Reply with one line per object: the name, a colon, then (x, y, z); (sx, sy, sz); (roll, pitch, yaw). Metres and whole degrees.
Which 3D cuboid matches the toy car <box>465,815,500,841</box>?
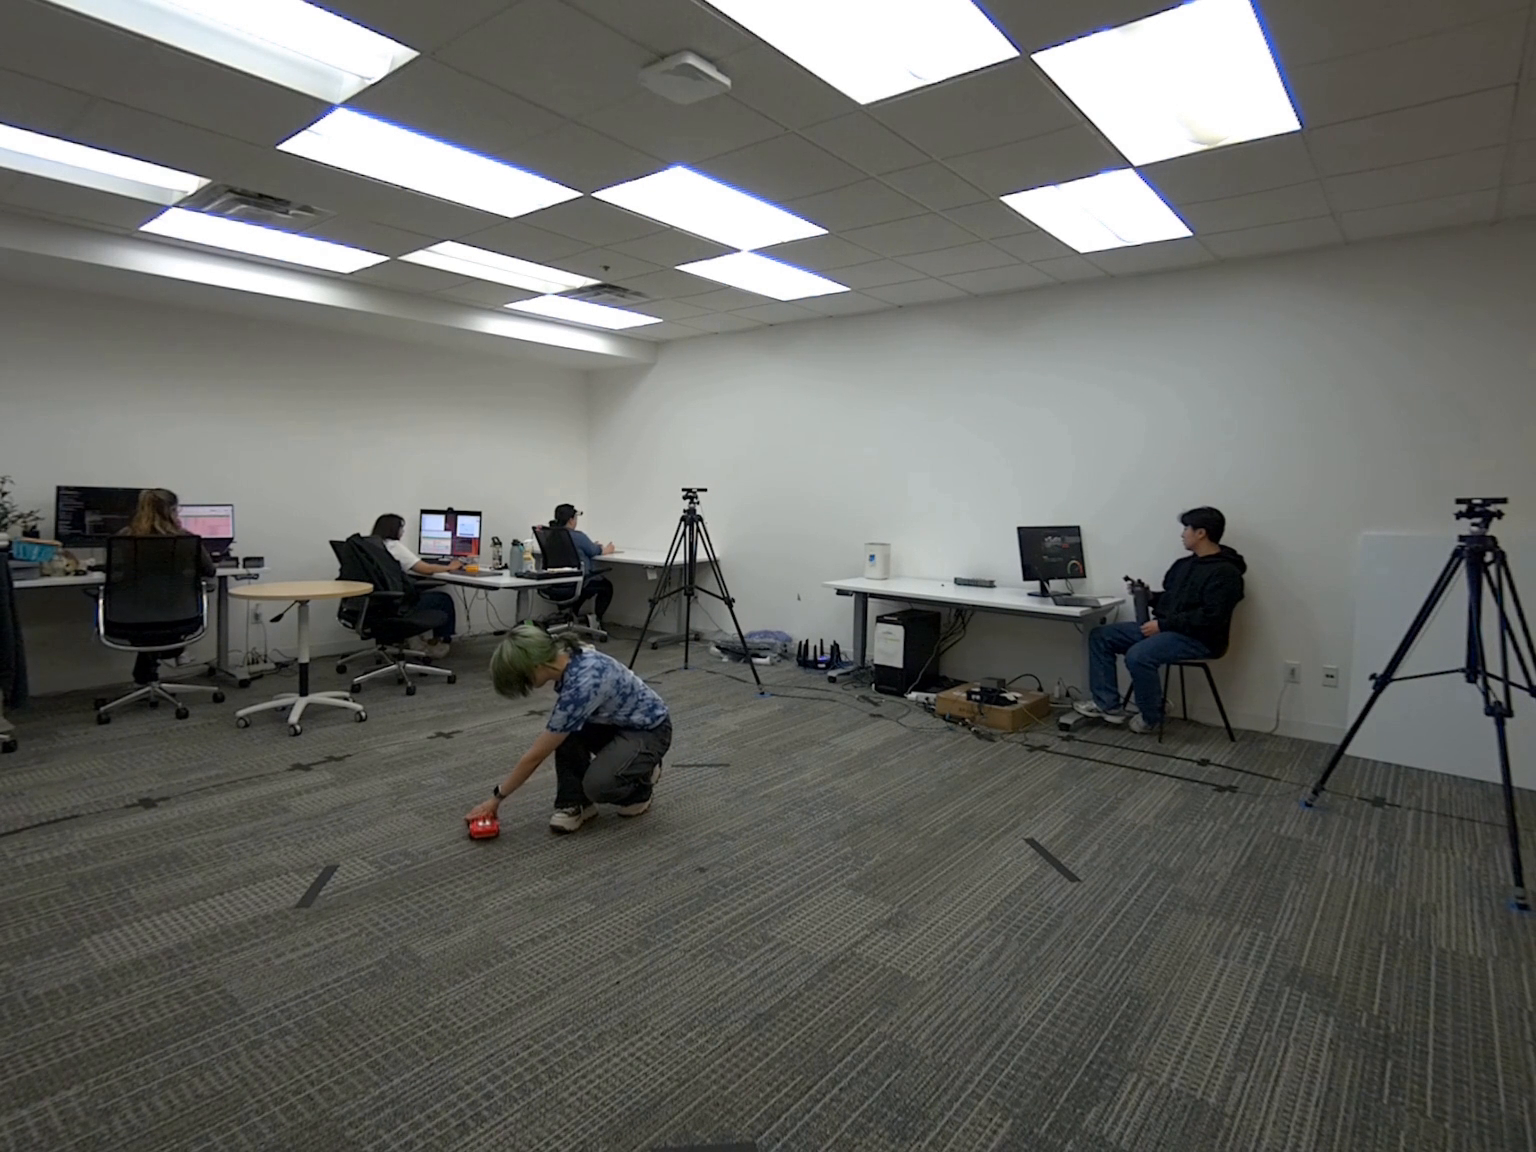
toy car: (-1.157, 0.999, 3.415); (0.128, 0.084, 0.257); (0, -7, -21)
